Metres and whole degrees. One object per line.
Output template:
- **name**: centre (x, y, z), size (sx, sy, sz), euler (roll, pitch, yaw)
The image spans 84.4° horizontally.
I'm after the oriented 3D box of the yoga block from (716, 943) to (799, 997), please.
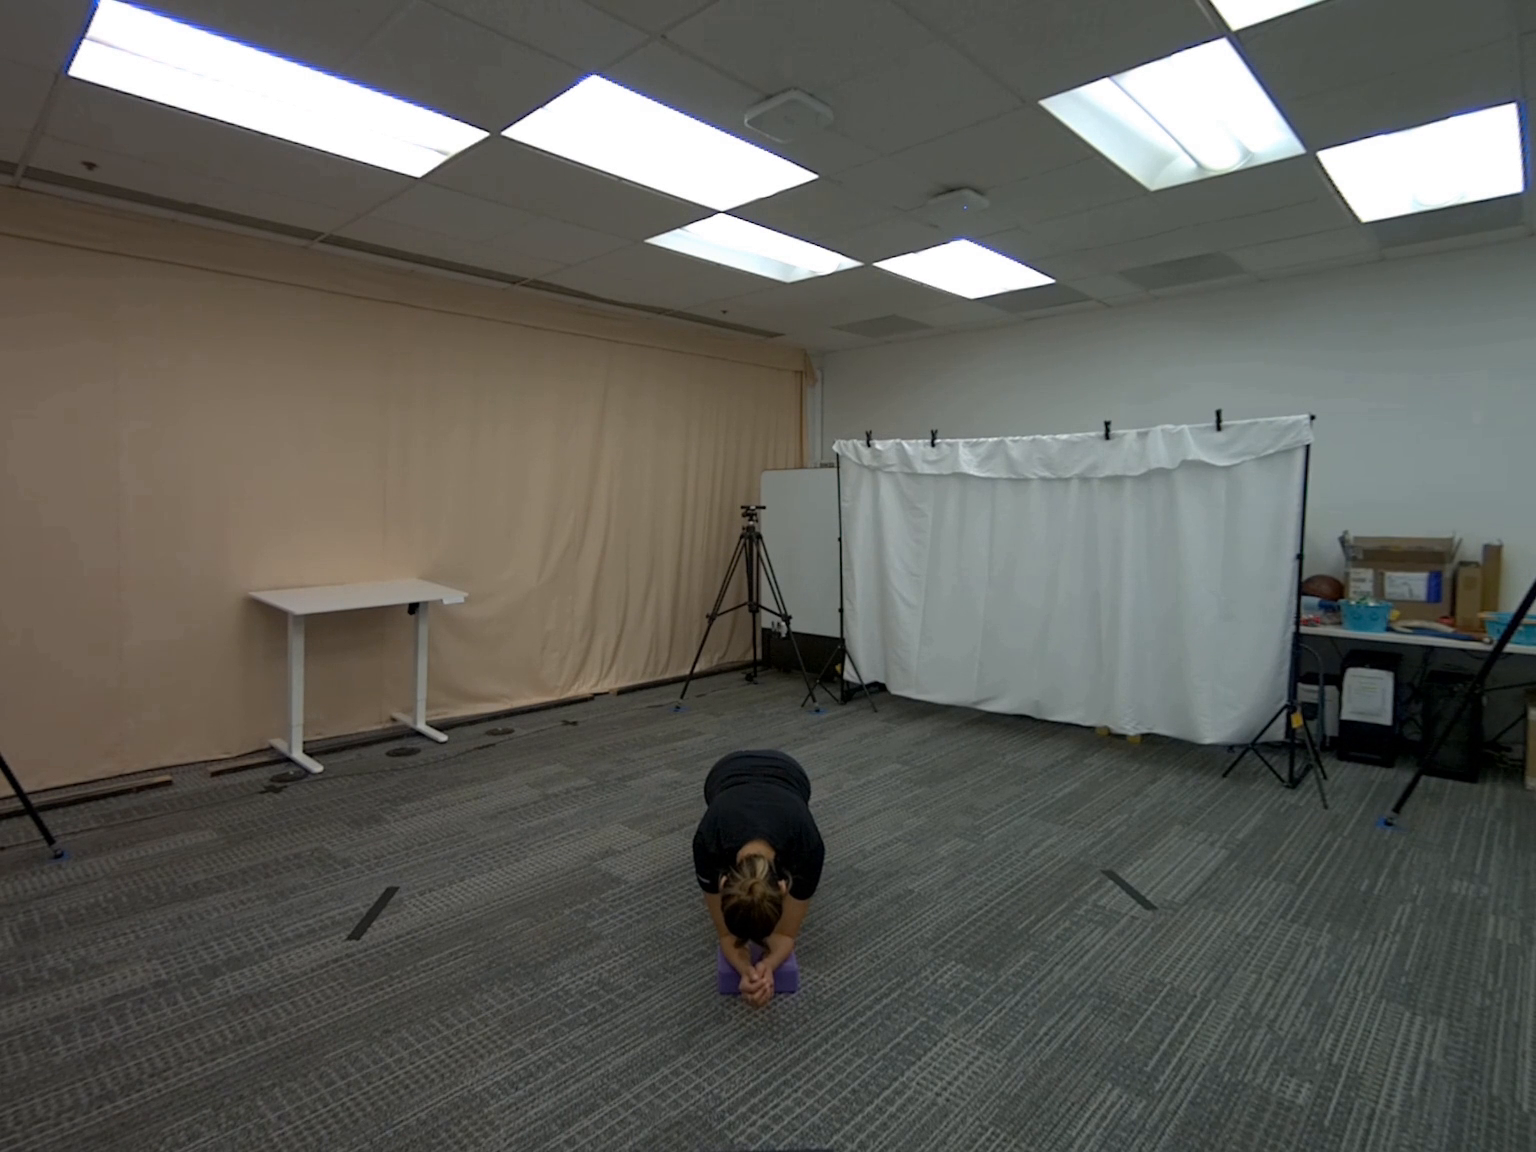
- **yoga block**: centre (-0.031, 1.141, 2.469), size (0.229, 0.076, 0.149), euler (0, 7, -1)
